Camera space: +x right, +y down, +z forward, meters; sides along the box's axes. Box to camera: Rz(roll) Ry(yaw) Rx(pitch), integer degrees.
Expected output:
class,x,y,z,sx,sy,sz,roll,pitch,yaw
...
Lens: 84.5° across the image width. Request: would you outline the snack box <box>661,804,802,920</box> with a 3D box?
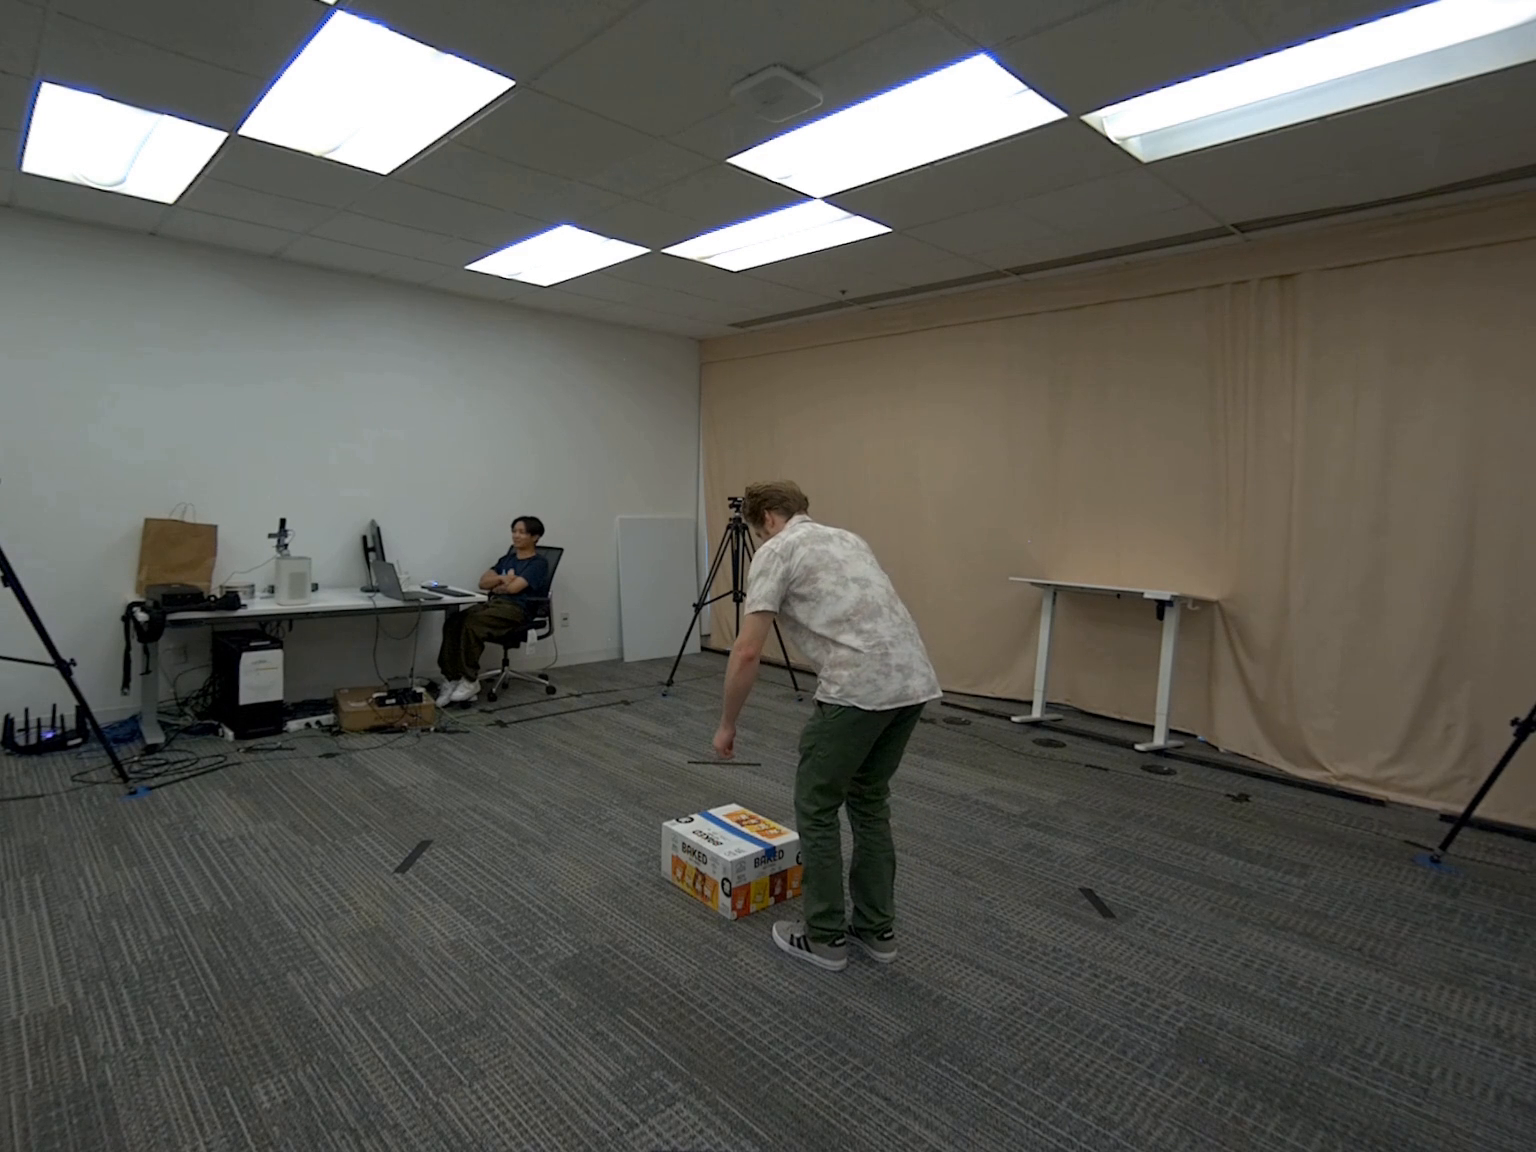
class,x,y,z,sx,sy,sz,roll,pitch,yaw
snack box,-0.135,1.015,3.024,0.332,0.205,0.415,-2,6,-40
